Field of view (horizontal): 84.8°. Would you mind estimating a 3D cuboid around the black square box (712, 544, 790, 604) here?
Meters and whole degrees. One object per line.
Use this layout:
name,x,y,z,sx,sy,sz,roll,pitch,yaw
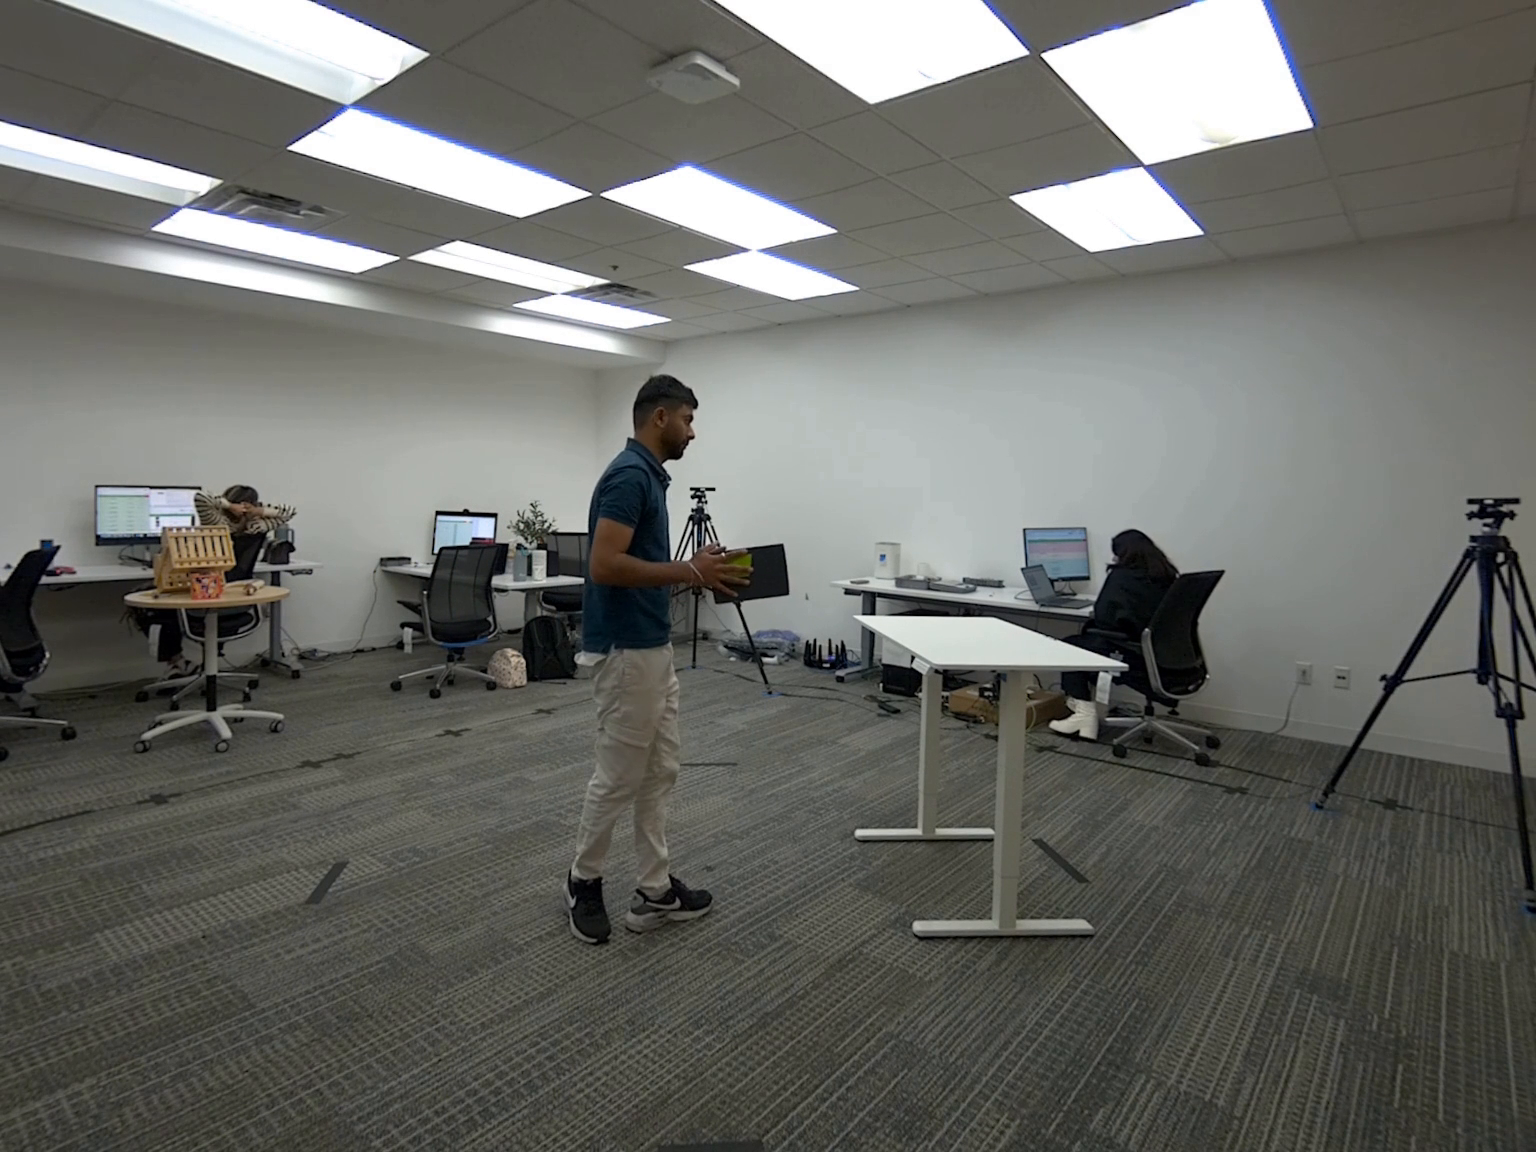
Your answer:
black square box,-0.073,-0.013,2.626,0.228,0.156,0.217,-7,2,-2
